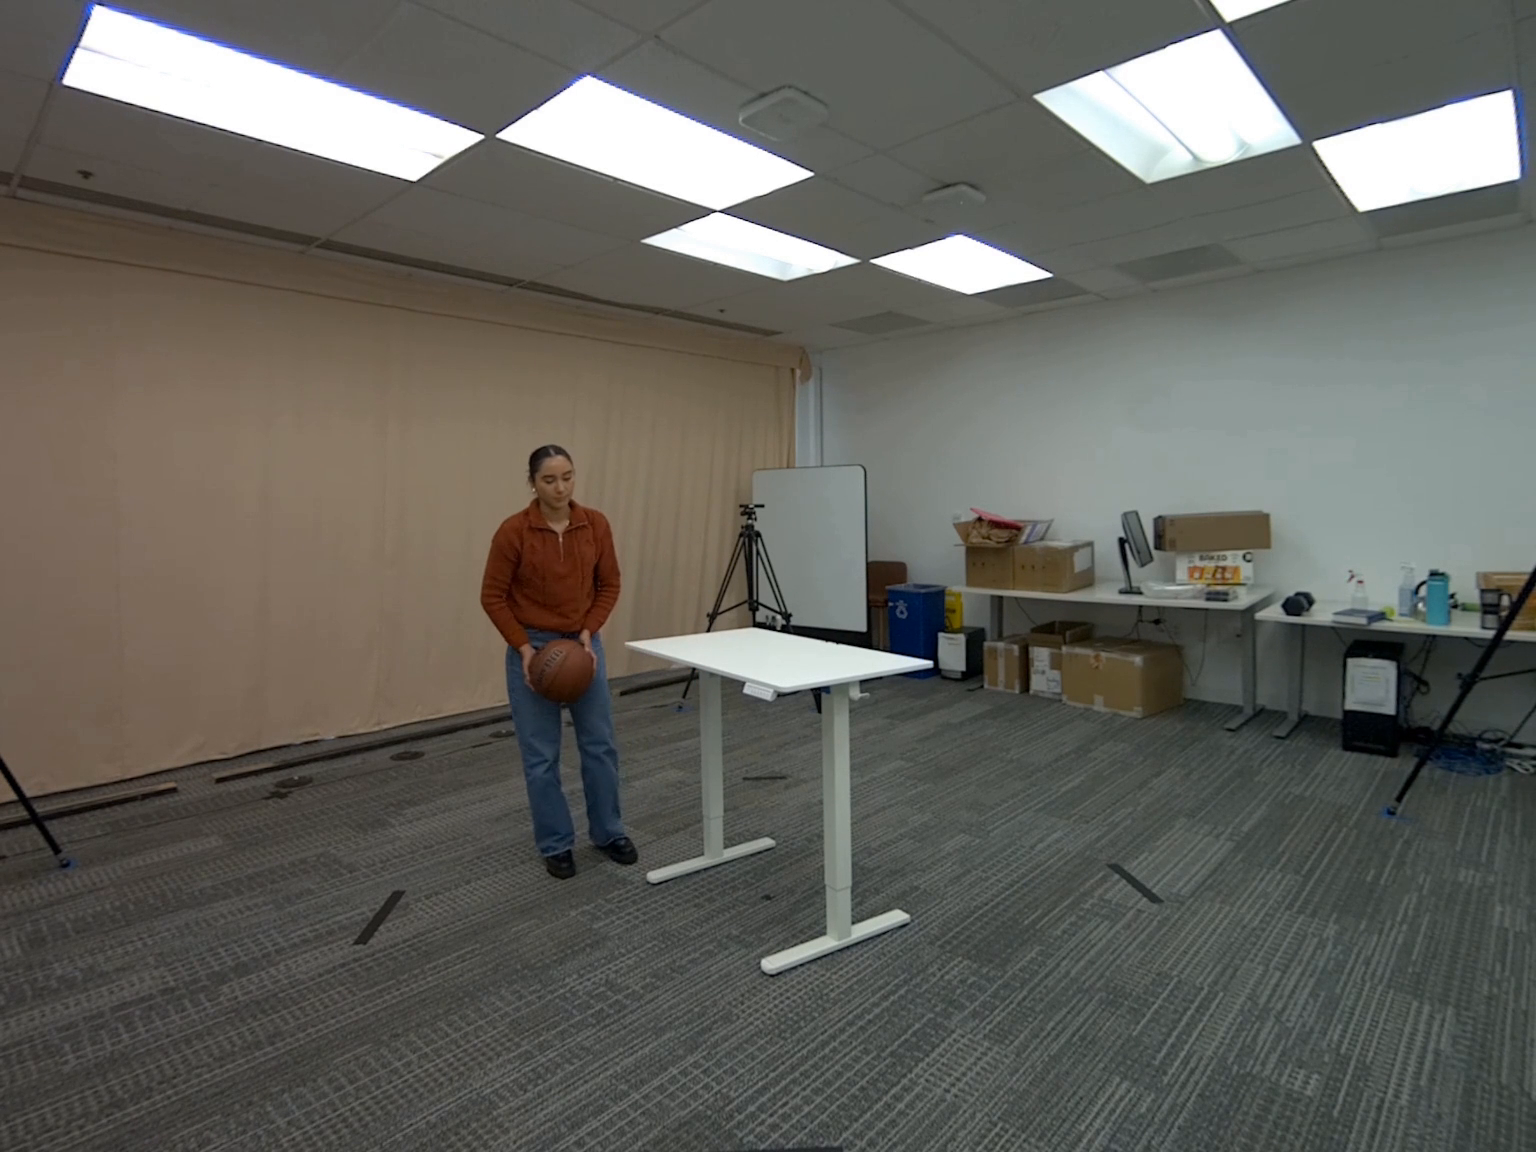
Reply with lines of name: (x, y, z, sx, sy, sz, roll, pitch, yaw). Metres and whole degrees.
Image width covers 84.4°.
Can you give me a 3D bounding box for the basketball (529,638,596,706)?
basketball: (-0.767, 0.351, 3.150, 0.236, 0.235, 0.237, -1, 4, -2)
